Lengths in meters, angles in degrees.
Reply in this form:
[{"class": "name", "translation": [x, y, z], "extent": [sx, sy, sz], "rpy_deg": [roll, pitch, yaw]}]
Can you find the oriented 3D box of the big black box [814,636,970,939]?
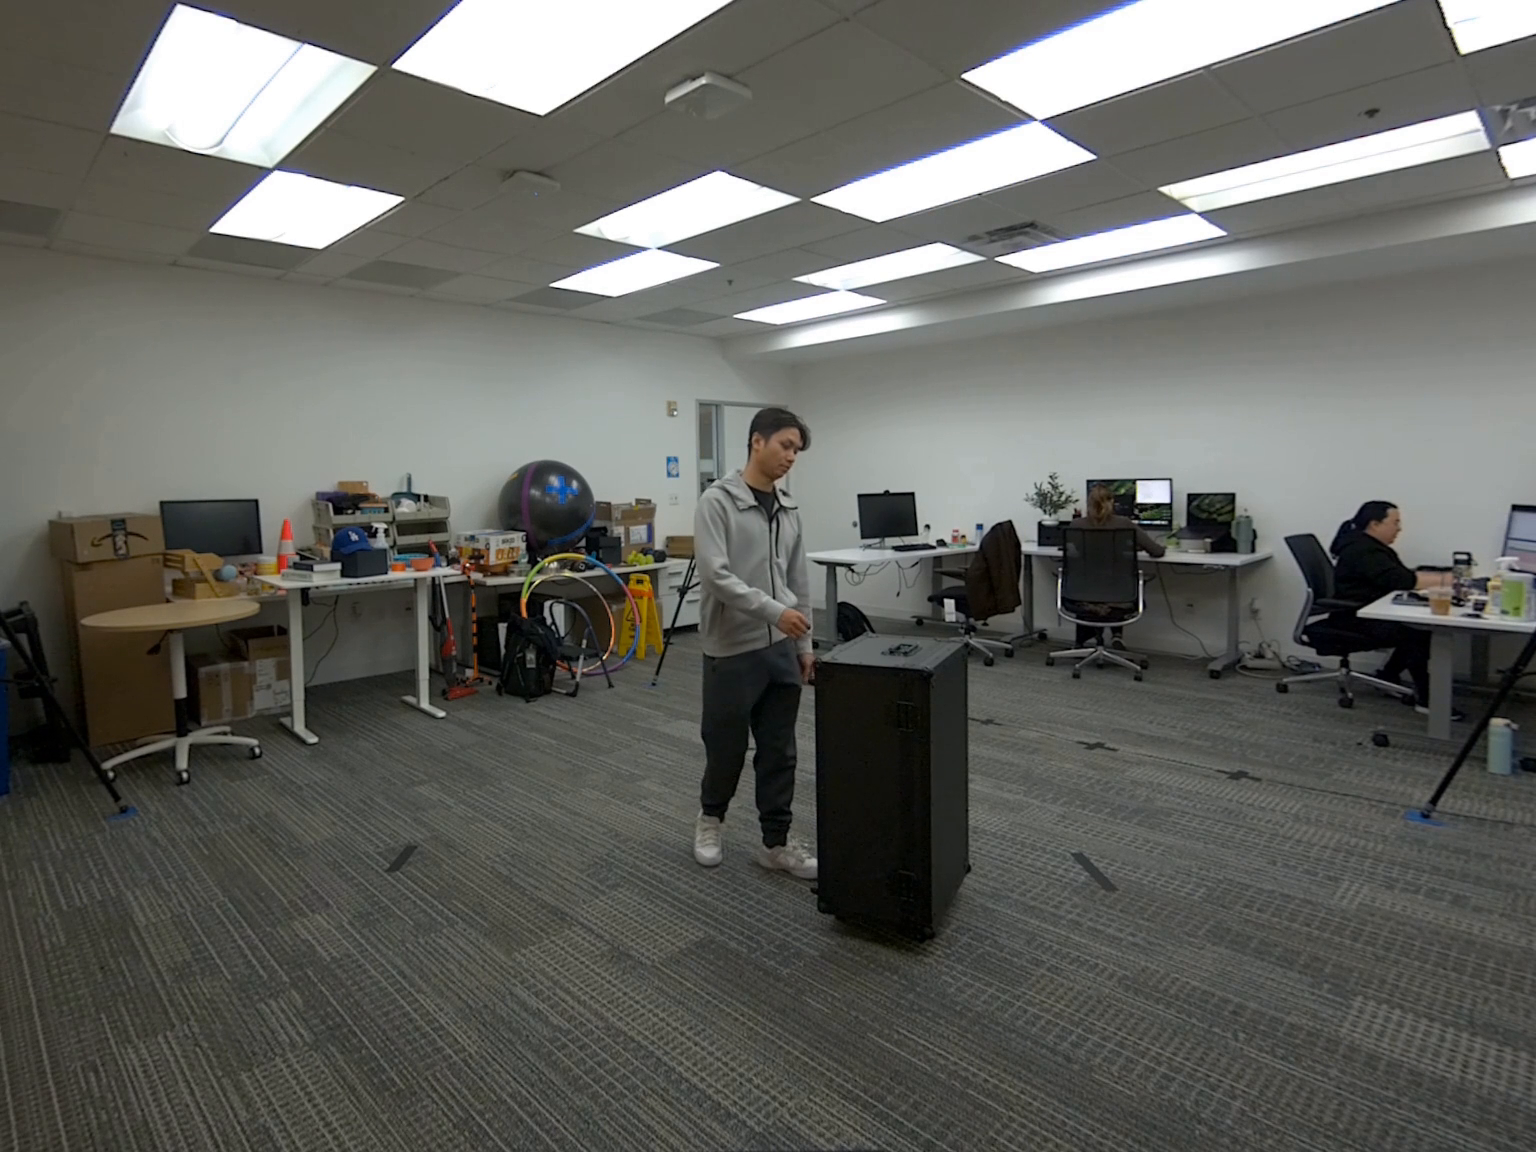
[{"class": "big black box", "translation": [0.401, 0.657, 2.712], "extent": [0.406, 0.859, 0.511], "rpy_deg": [-1, 4, 27]}]
